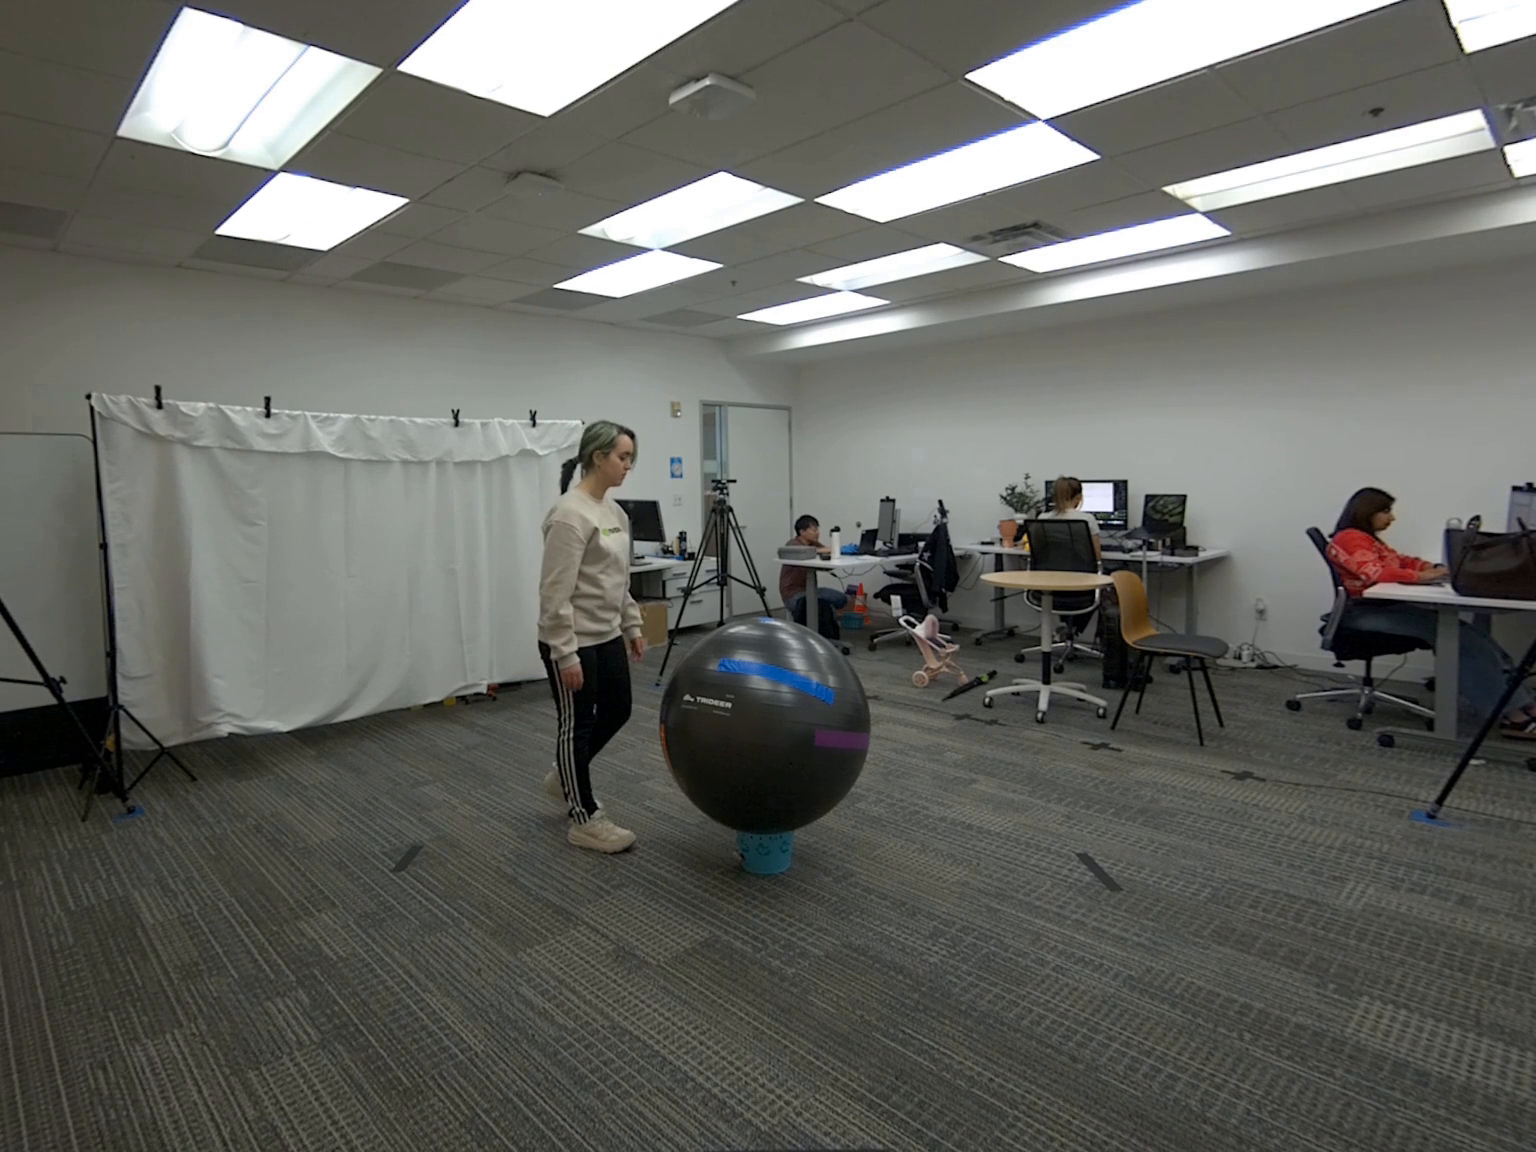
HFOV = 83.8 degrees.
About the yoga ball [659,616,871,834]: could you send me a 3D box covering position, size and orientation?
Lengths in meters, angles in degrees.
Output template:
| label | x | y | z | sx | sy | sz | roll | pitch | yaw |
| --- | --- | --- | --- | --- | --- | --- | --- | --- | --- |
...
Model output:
| label | x | y | z | sx | sy | sz | roll | pitch | yaw |
| --- | --- | --- | --- | --- | --- | --- | --- | --- | --- |
| yoga ball | -0.011 | 0.532 | 3.092 | 0.757 | 0.755 | 0.762 | -1 | 5 | -2 |
